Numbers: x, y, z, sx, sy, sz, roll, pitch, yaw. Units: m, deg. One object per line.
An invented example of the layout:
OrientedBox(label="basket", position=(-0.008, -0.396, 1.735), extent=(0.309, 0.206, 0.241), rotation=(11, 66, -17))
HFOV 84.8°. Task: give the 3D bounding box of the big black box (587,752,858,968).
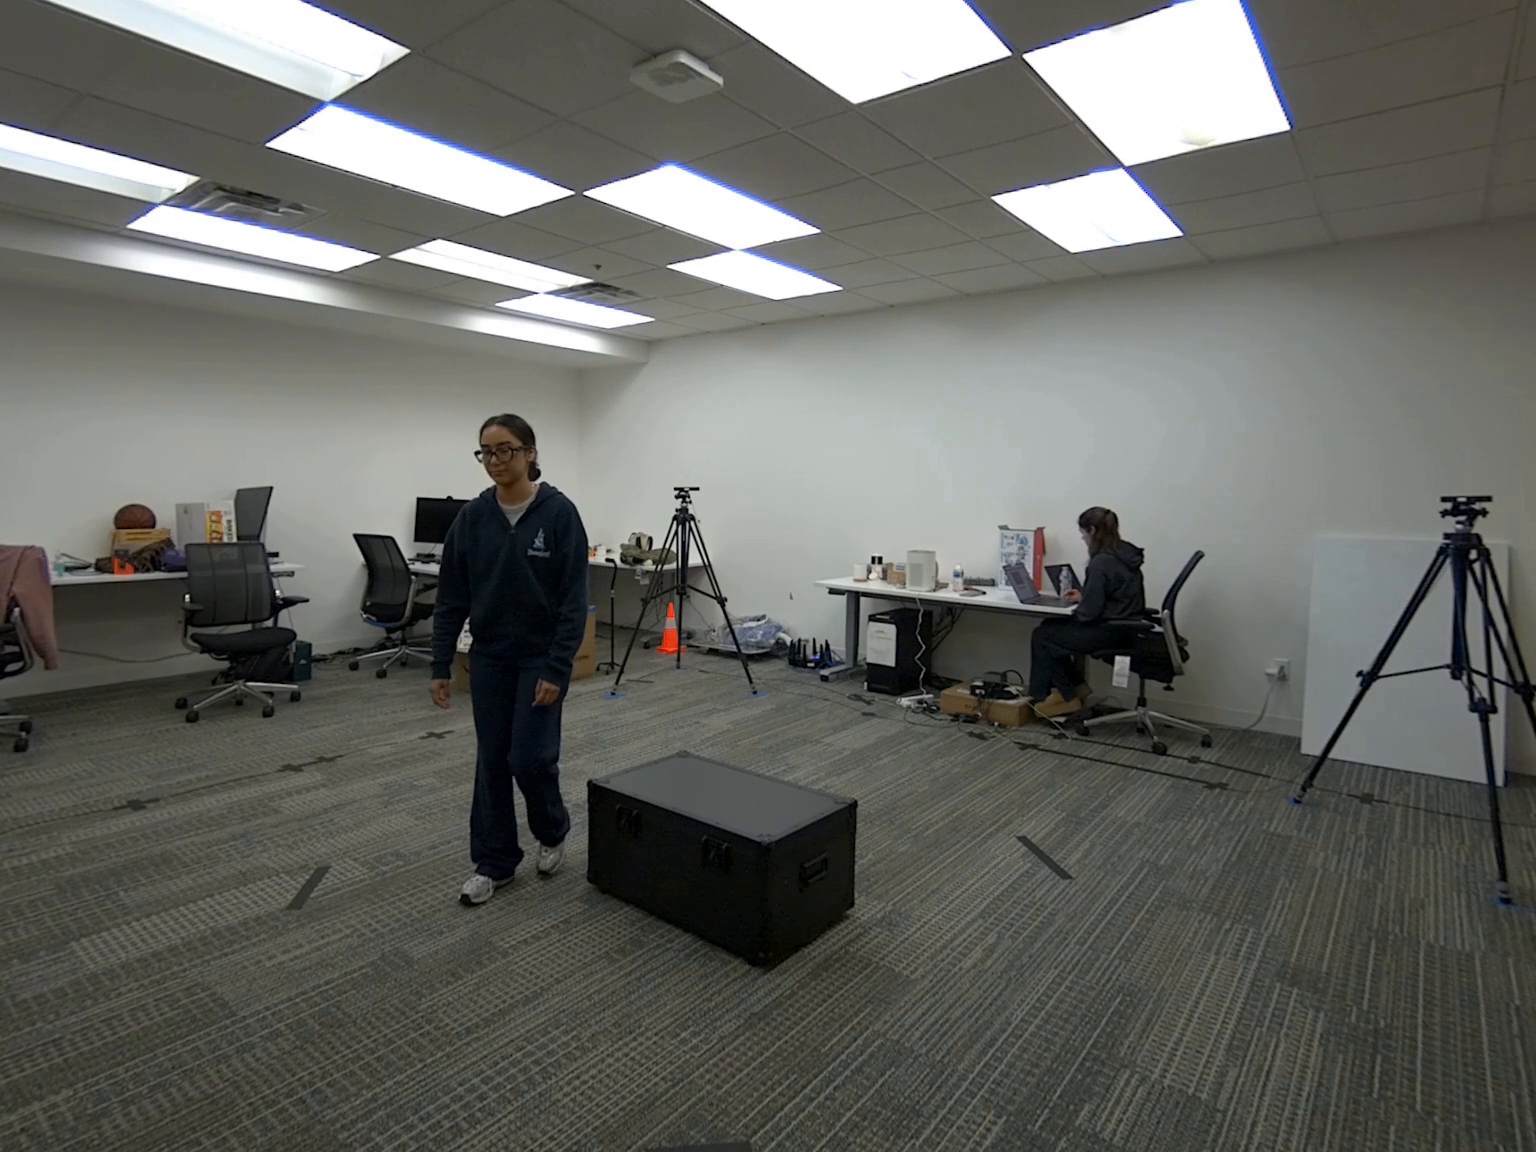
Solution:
OrientedBox(label="big black box", position=(-0.199, 0.900, 2.877), extent=(0.890, 0.395, 0.506), rotation=(5, 6, 39))
